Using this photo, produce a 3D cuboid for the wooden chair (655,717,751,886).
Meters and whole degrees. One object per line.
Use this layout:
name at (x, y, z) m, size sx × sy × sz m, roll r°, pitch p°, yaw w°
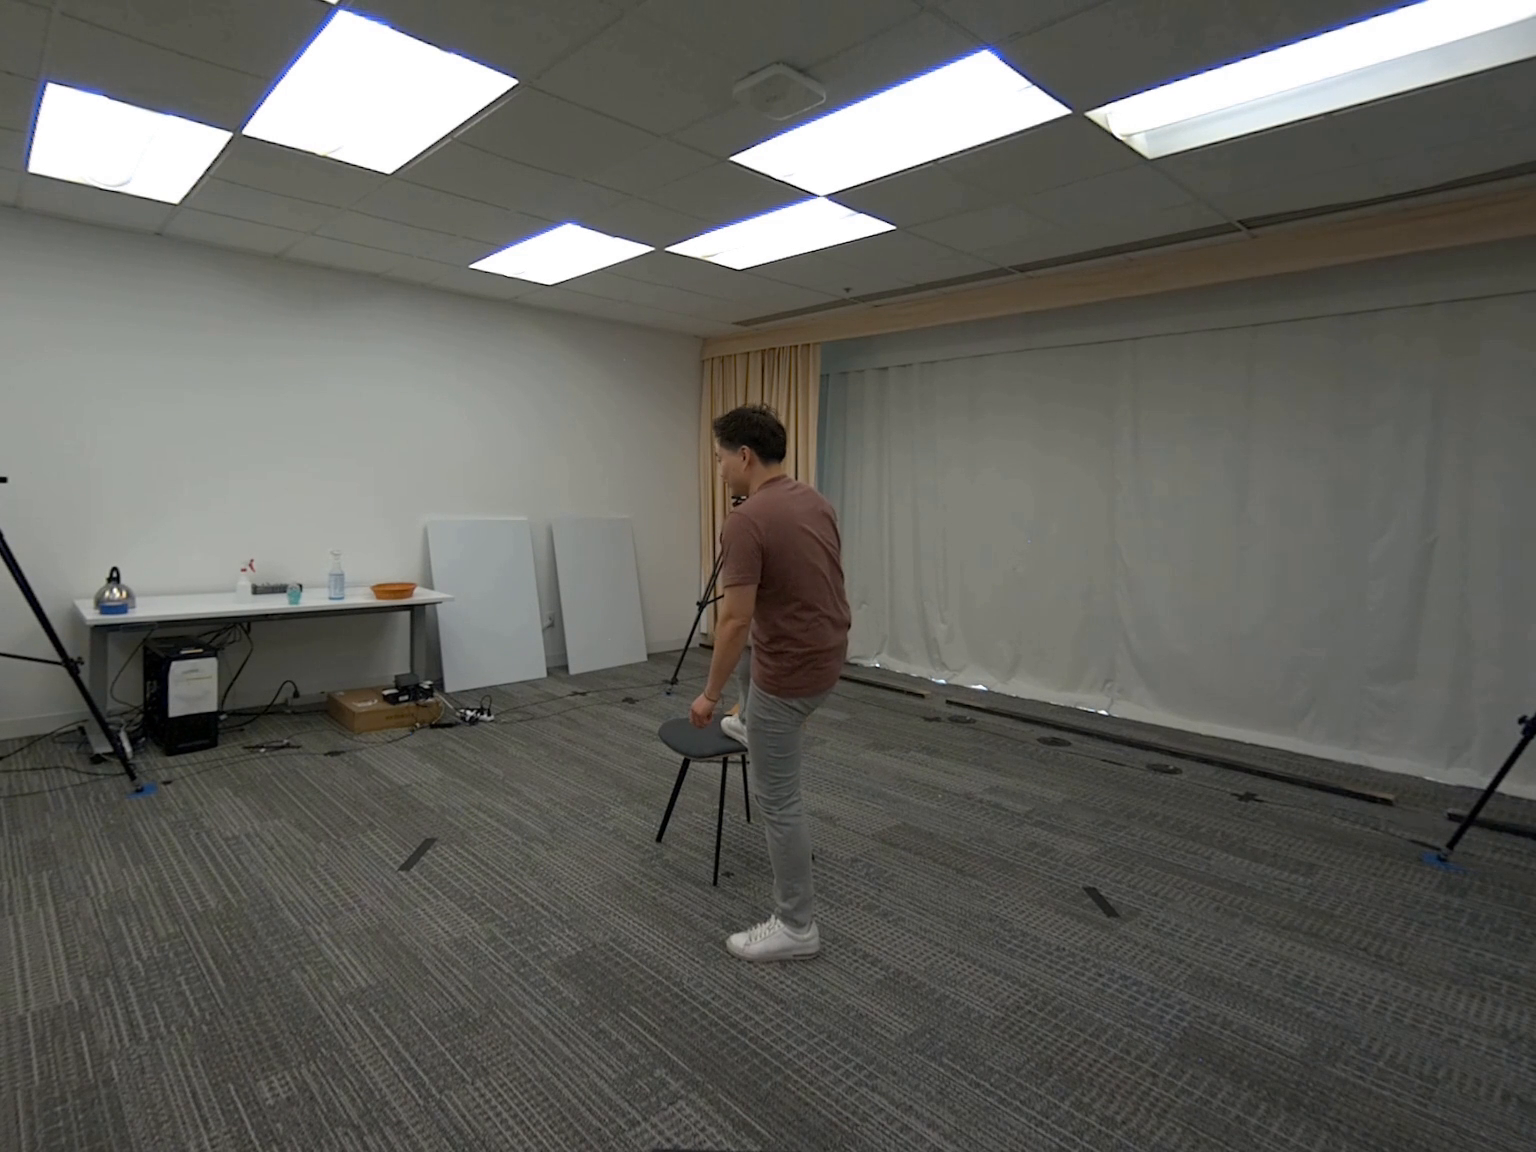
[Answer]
wooden chair at (-0.139, 0.660, 3.280) m, size 0.511 × 0.877 × 0.490 m, roll 4°, pitch 1°, yaw -35°
